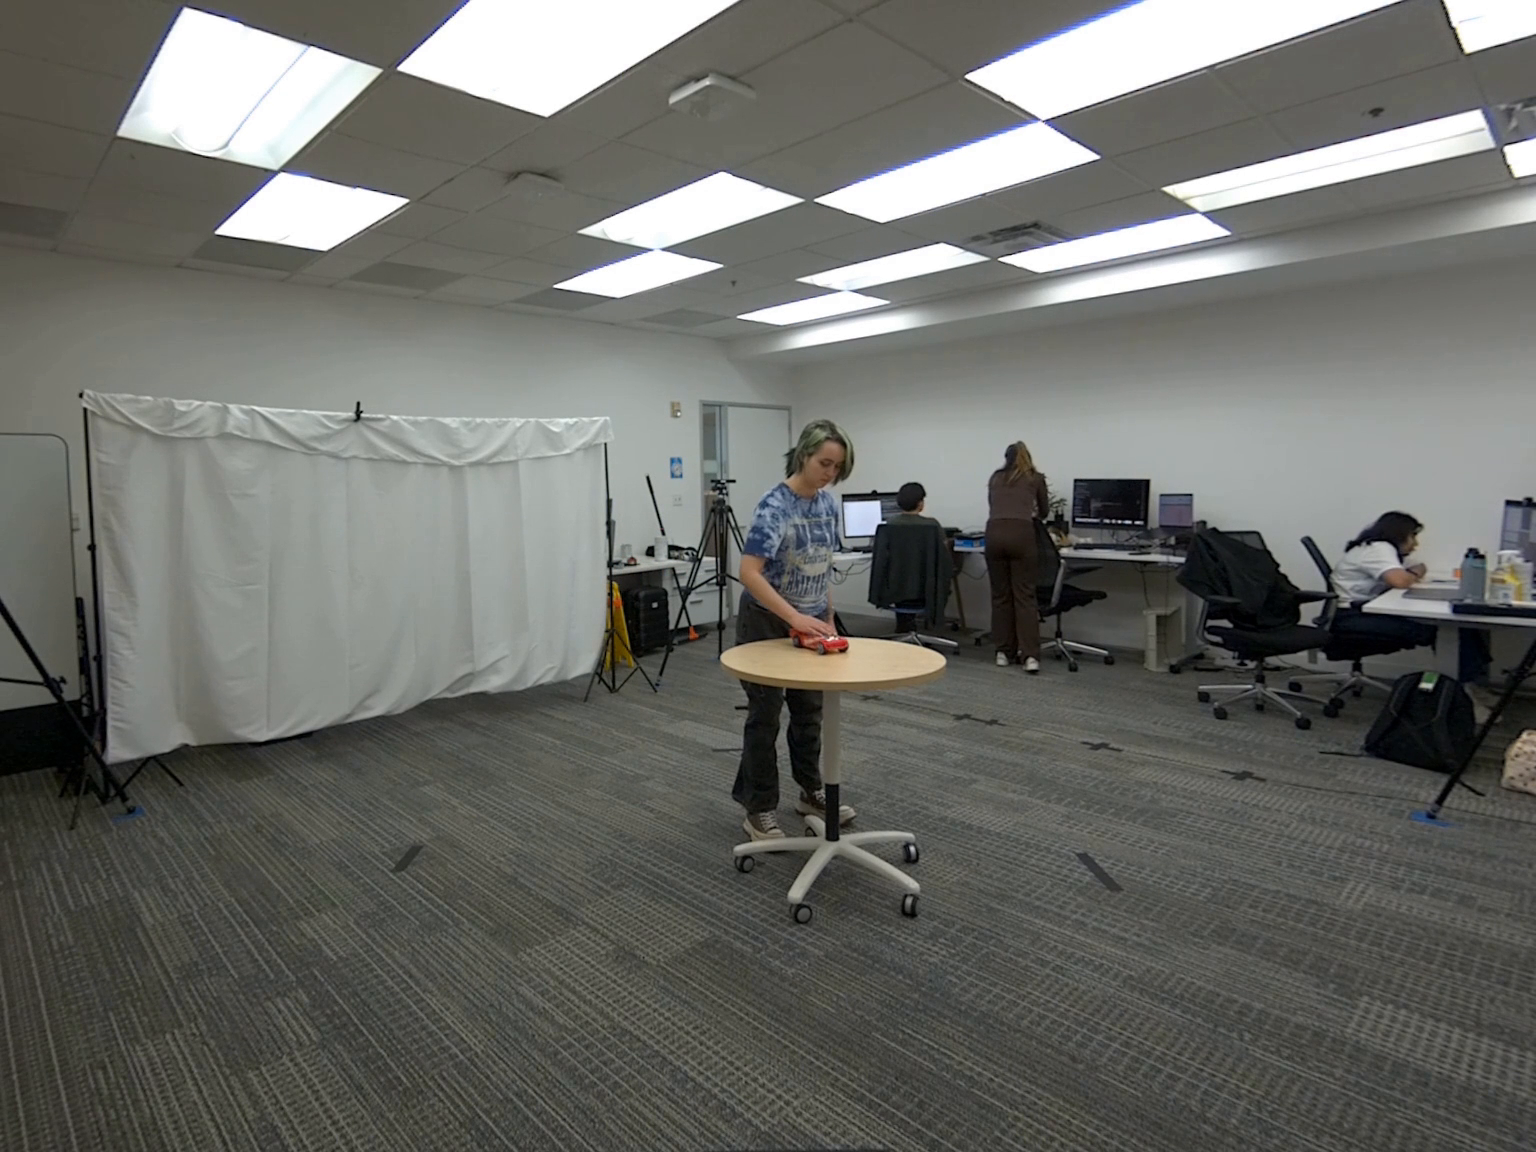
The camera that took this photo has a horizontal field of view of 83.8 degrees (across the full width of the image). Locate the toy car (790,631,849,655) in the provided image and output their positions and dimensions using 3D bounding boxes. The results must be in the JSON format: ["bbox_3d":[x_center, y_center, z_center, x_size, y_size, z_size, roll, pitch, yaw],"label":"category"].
[{"bbox_3d":[0.184,0.235,3.083,0.127,0.082,0.263,-3,17,-30],"label":"toy car"}]
